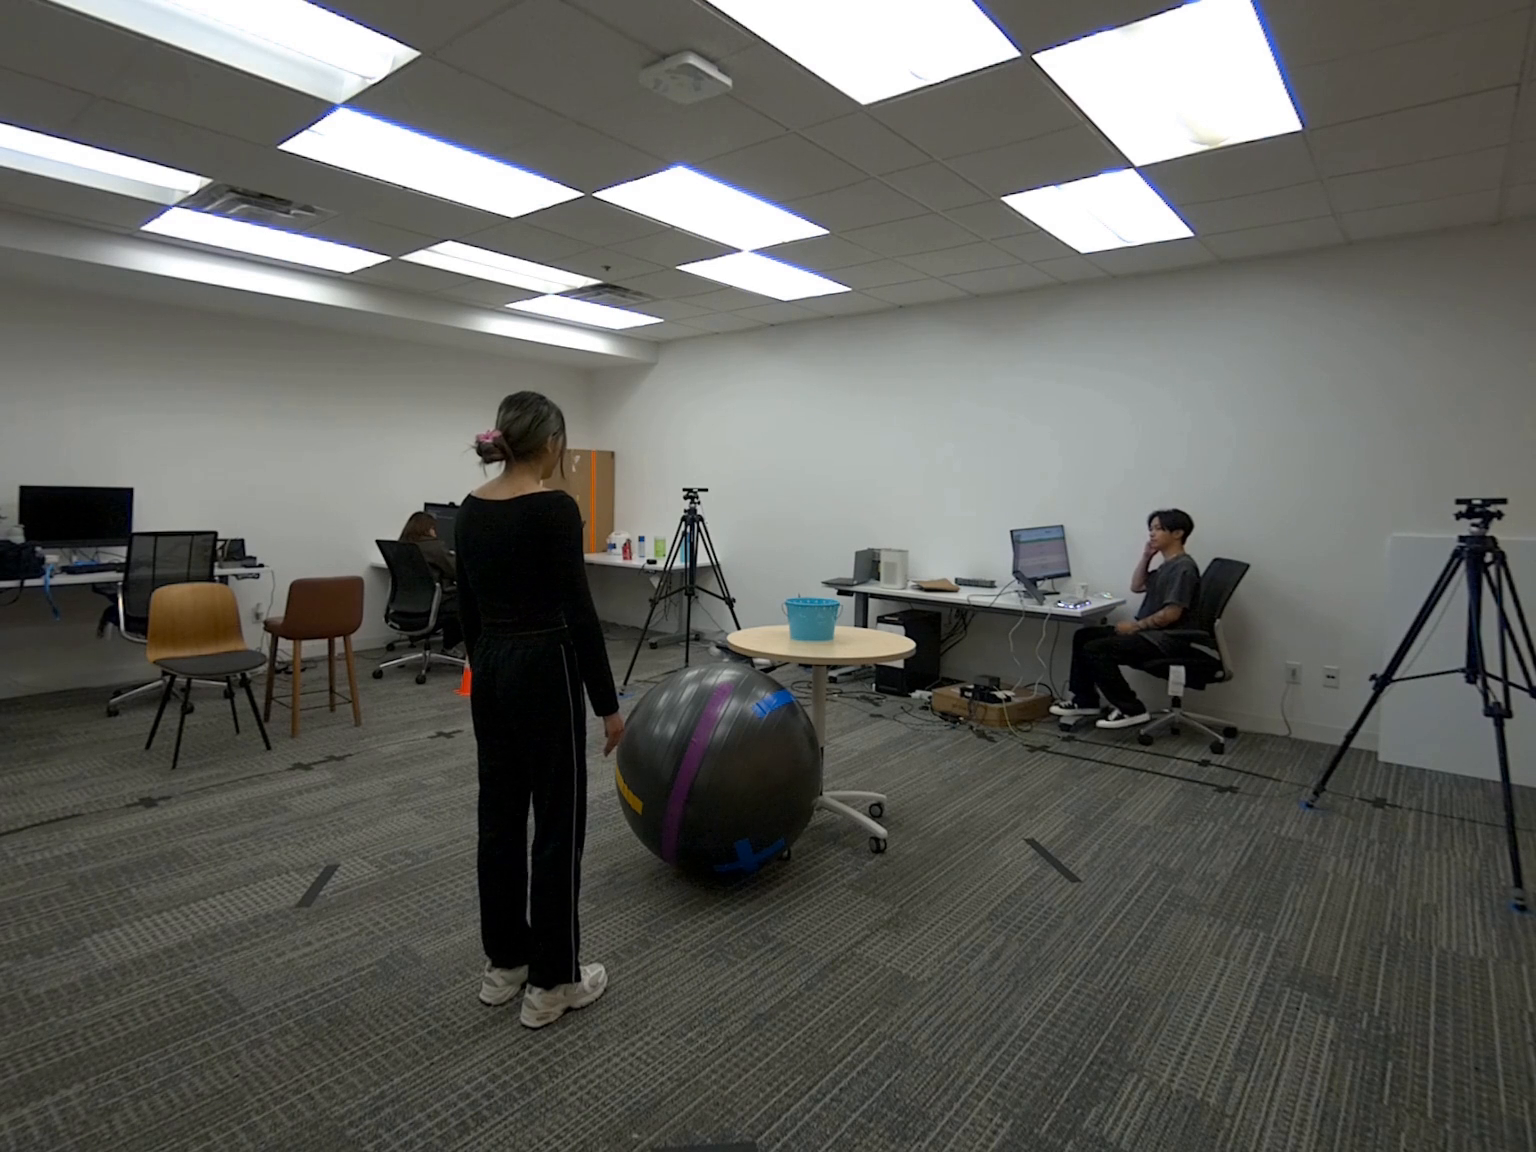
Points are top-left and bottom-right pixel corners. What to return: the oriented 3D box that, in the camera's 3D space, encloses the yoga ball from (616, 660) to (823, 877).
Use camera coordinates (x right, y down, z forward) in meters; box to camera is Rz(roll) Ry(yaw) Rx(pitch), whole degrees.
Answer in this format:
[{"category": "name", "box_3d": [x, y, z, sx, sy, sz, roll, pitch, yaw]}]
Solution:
[{"category": "yoga ball", "box_3d": [-0.185, 0.704, 3.122, 0.757, 0.756, 0.762, 1, 4, -2]}]
